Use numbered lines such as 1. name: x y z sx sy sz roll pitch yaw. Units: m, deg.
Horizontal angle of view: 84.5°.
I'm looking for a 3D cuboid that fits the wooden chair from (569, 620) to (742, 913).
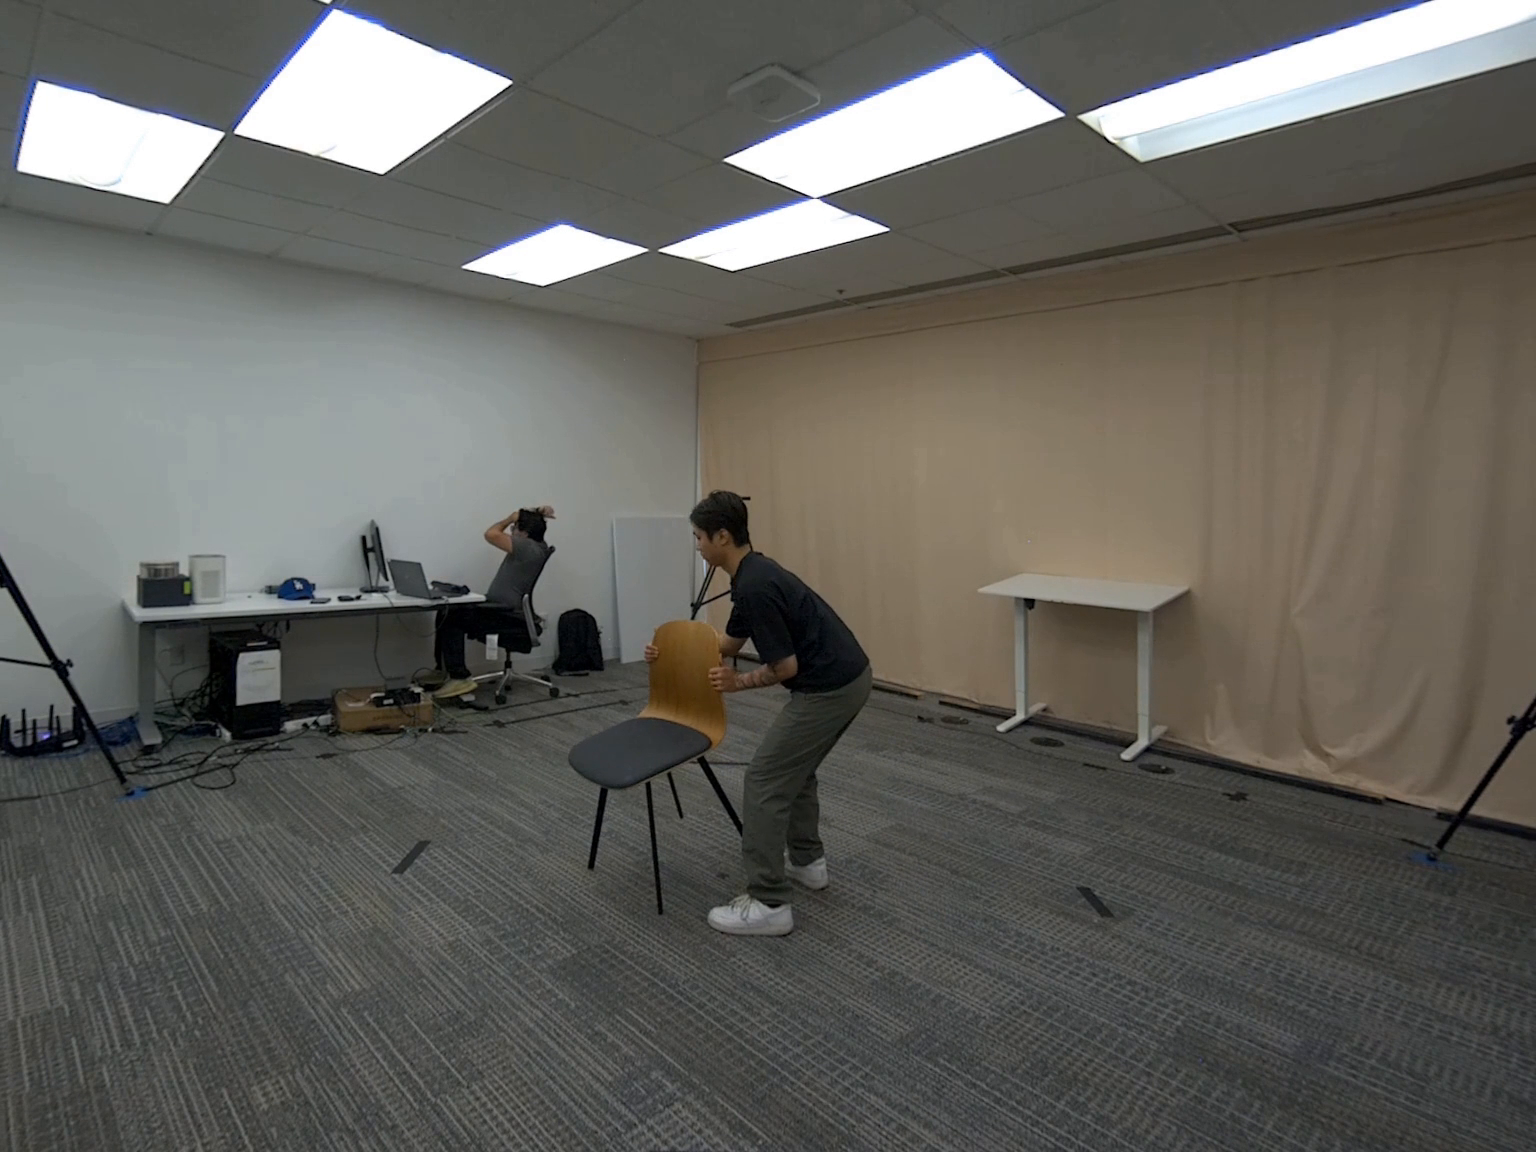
1. wooden chair: -0.415 0.641 3.015 0.513 0.871 0.490 -12 11 -42
